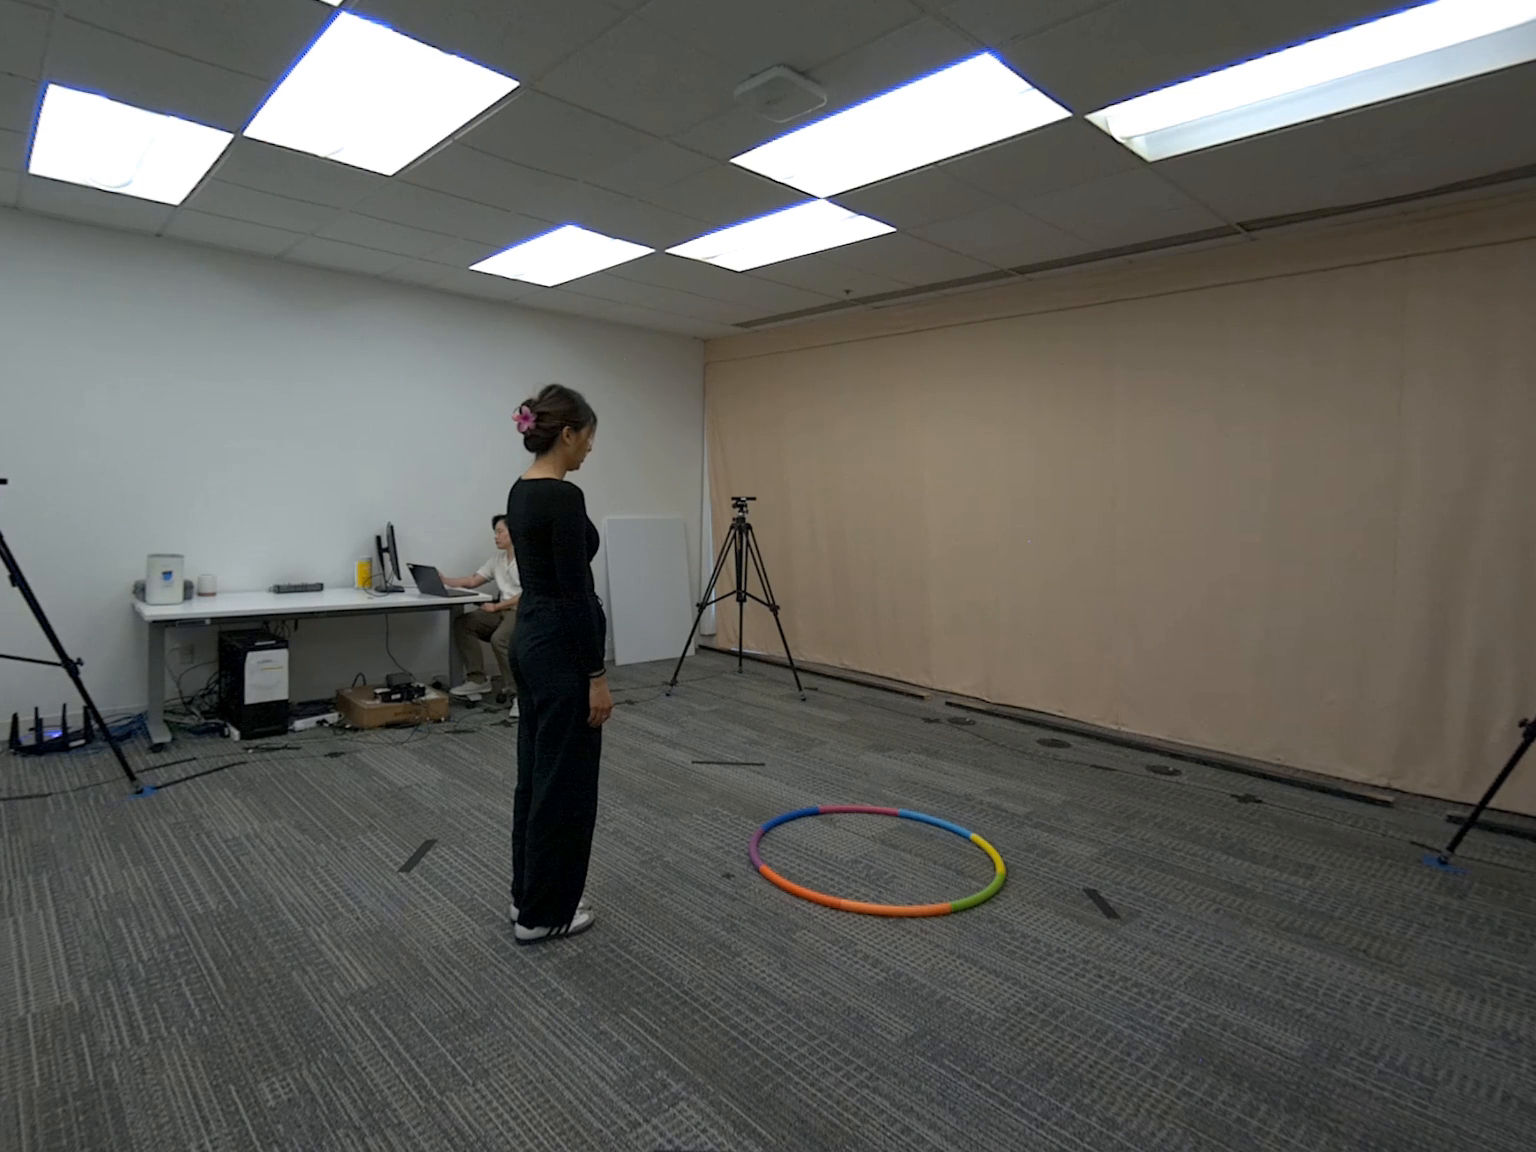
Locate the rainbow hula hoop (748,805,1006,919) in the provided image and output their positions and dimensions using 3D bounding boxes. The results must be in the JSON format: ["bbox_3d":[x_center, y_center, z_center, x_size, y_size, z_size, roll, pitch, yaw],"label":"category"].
[{"bbox_3d":[0.406,1.072,3.305,0.978,0.035,0.982,1,5,-1],"label":"rainbow hula hoop"}]
